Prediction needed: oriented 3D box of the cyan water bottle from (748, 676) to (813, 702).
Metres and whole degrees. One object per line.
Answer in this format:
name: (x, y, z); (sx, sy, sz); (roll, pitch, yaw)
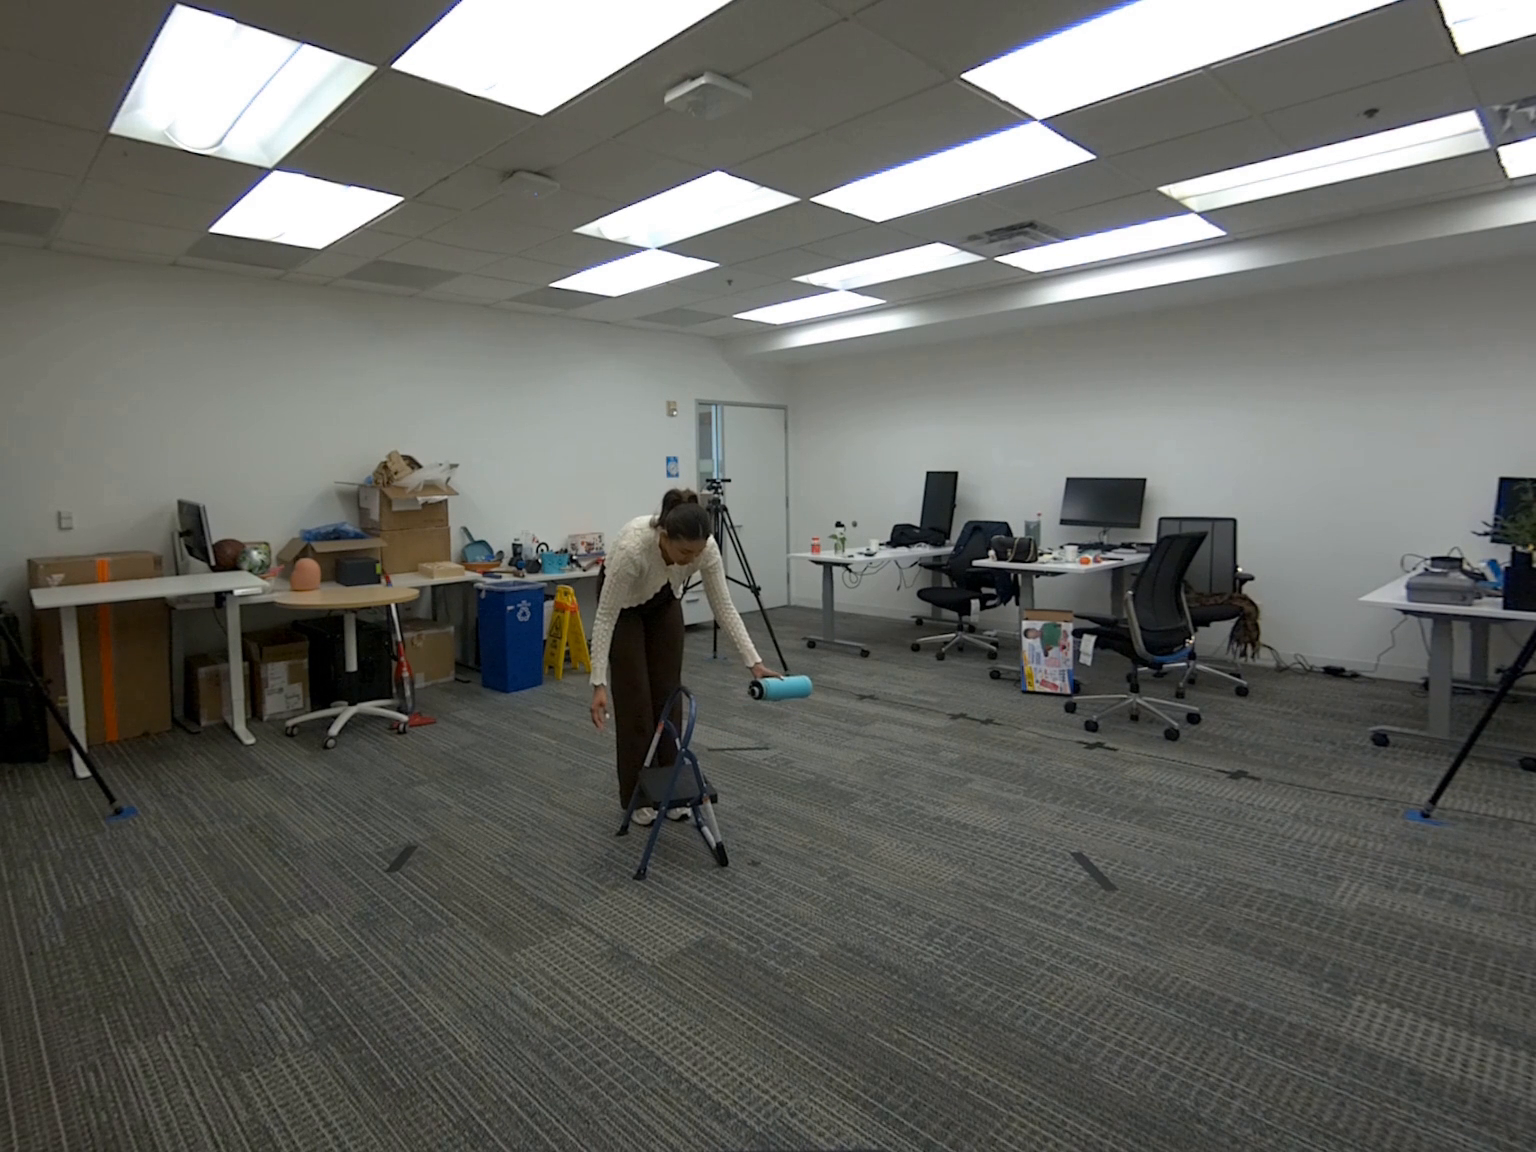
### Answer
cyan water bottle: (0.035, 0.453, 3.407); (0.275, 0.092, 0.095); (1, 3, -36)
